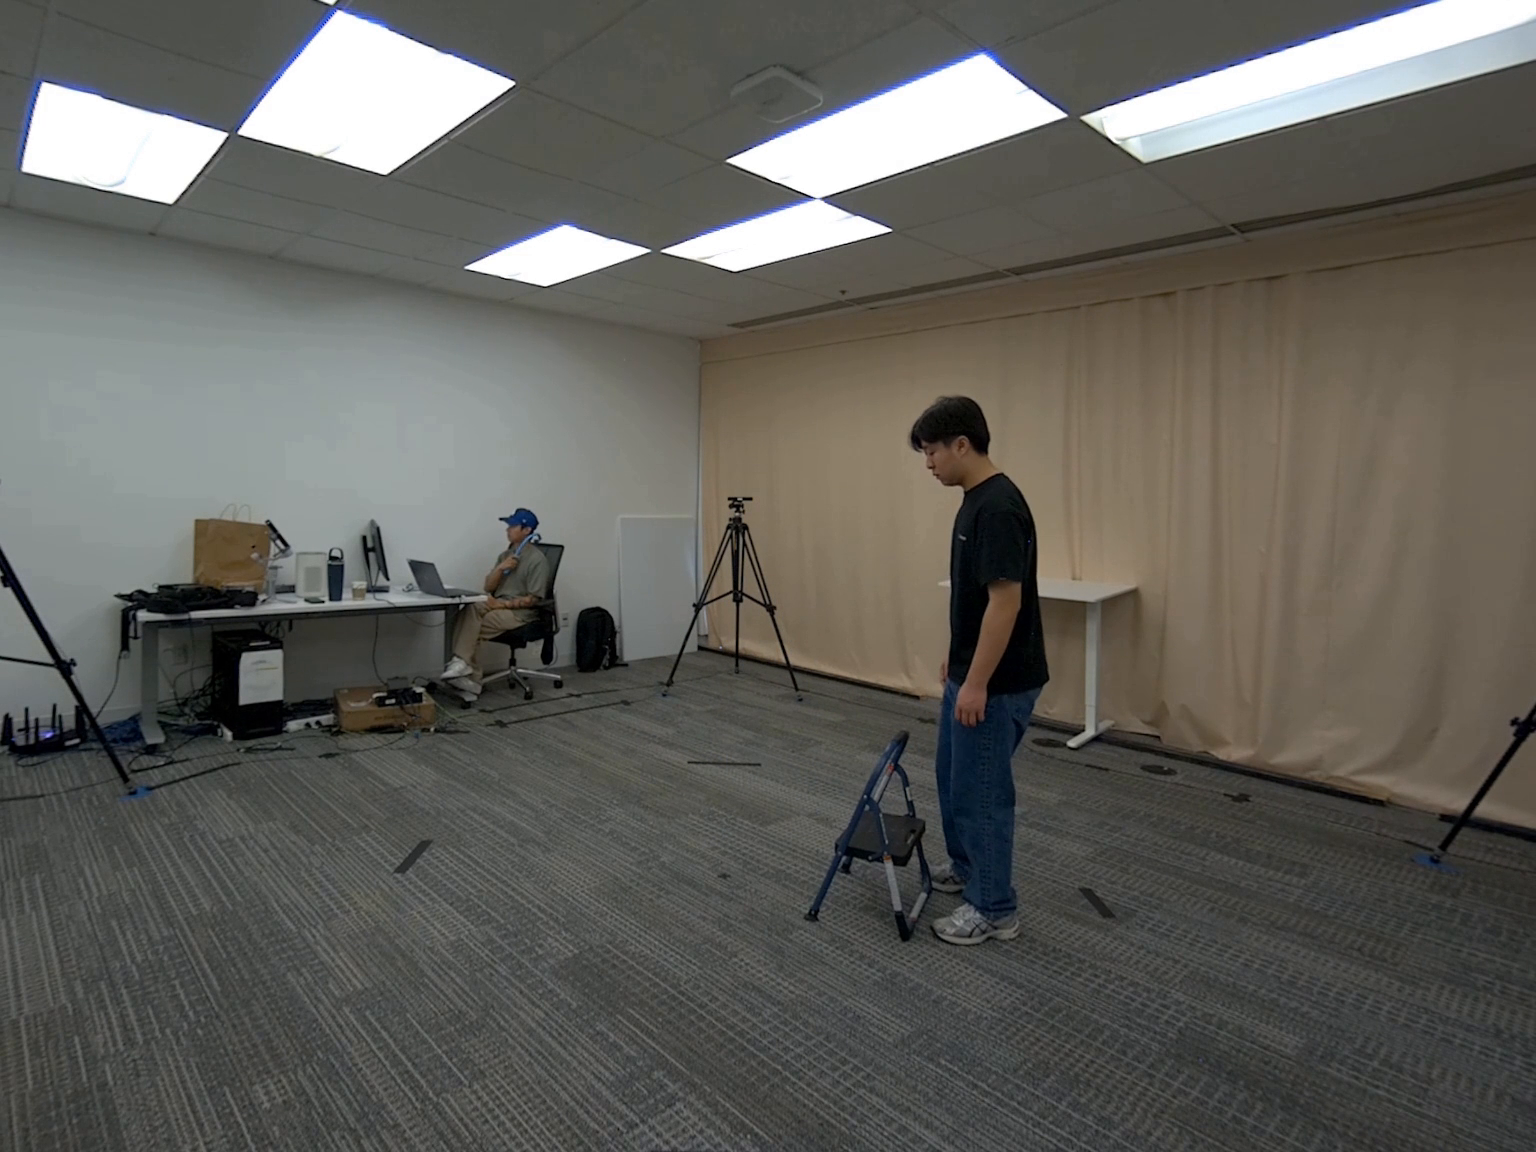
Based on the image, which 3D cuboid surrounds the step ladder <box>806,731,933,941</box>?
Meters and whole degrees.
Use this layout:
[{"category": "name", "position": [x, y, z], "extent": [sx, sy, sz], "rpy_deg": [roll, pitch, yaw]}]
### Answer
[{"category": "step ladder", "position": [0.363, 0.834, 2.901], "extent": [0.355, 0.604, 0.424], "rpy_deg": [3, 5, 22]}]
